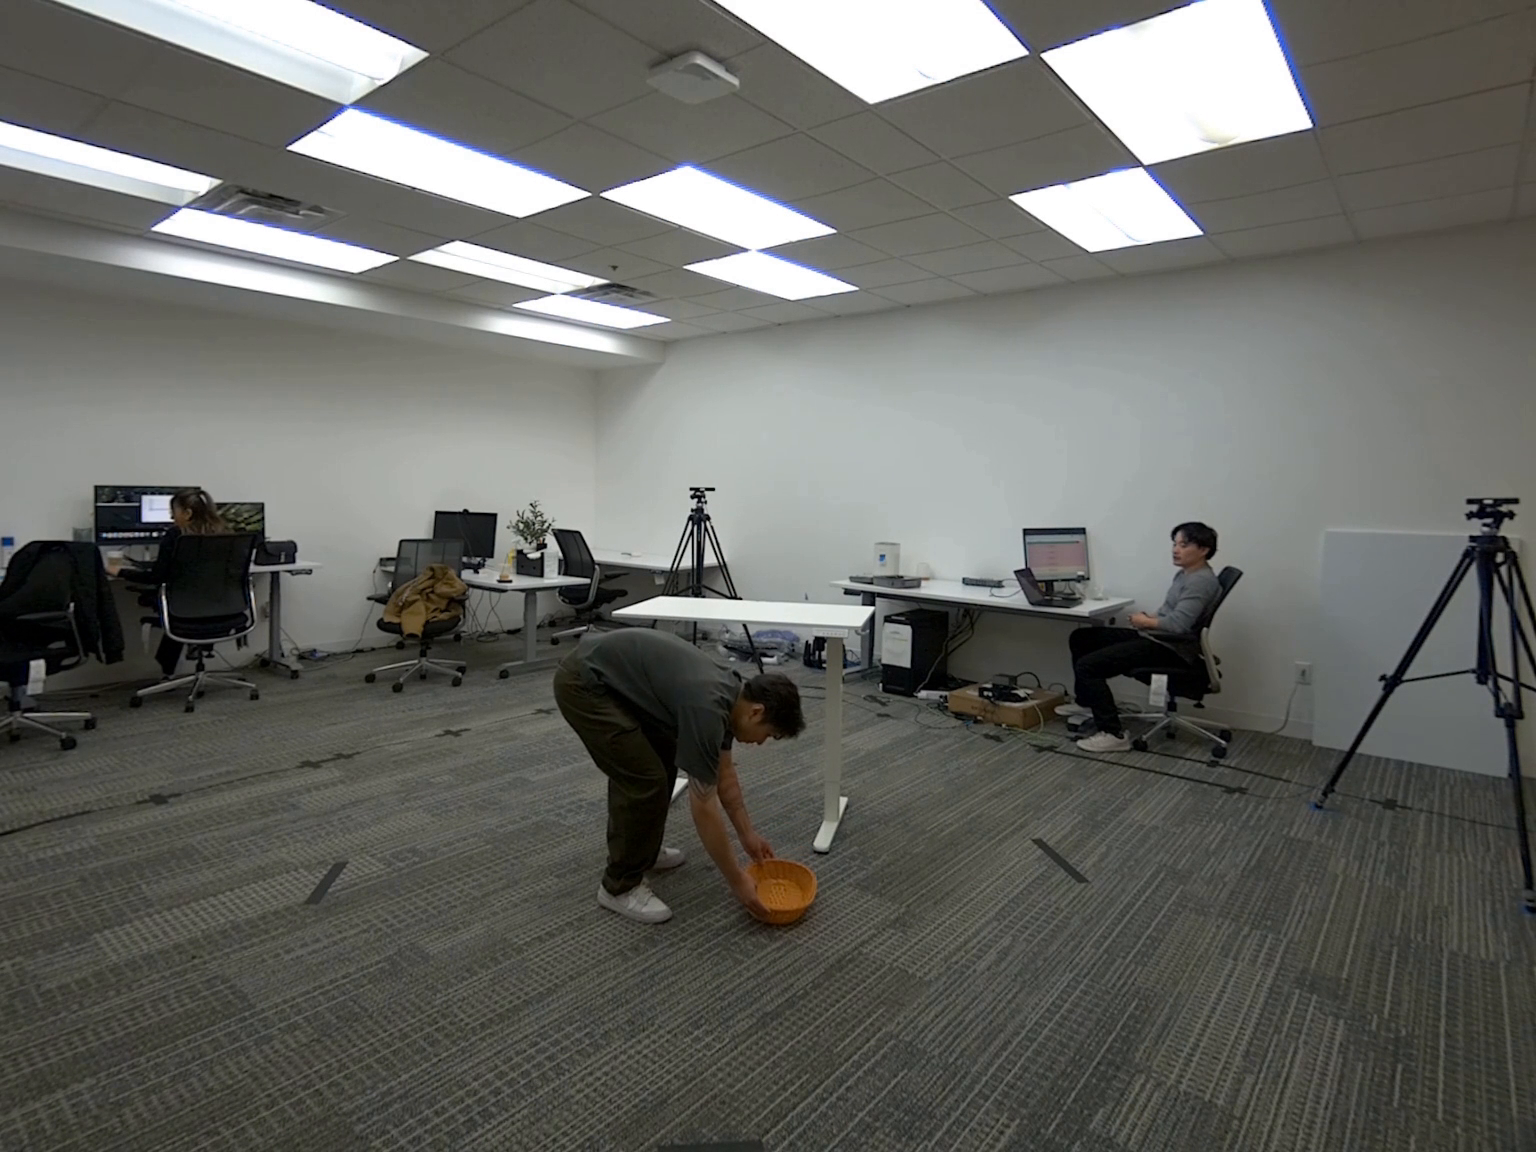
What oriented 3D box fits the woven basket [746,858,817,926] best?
[{"bbox_3d":[0.026,1.048,2.831,0.256,0.073,0.348,5,7,10],"label":"woven basket"}]
